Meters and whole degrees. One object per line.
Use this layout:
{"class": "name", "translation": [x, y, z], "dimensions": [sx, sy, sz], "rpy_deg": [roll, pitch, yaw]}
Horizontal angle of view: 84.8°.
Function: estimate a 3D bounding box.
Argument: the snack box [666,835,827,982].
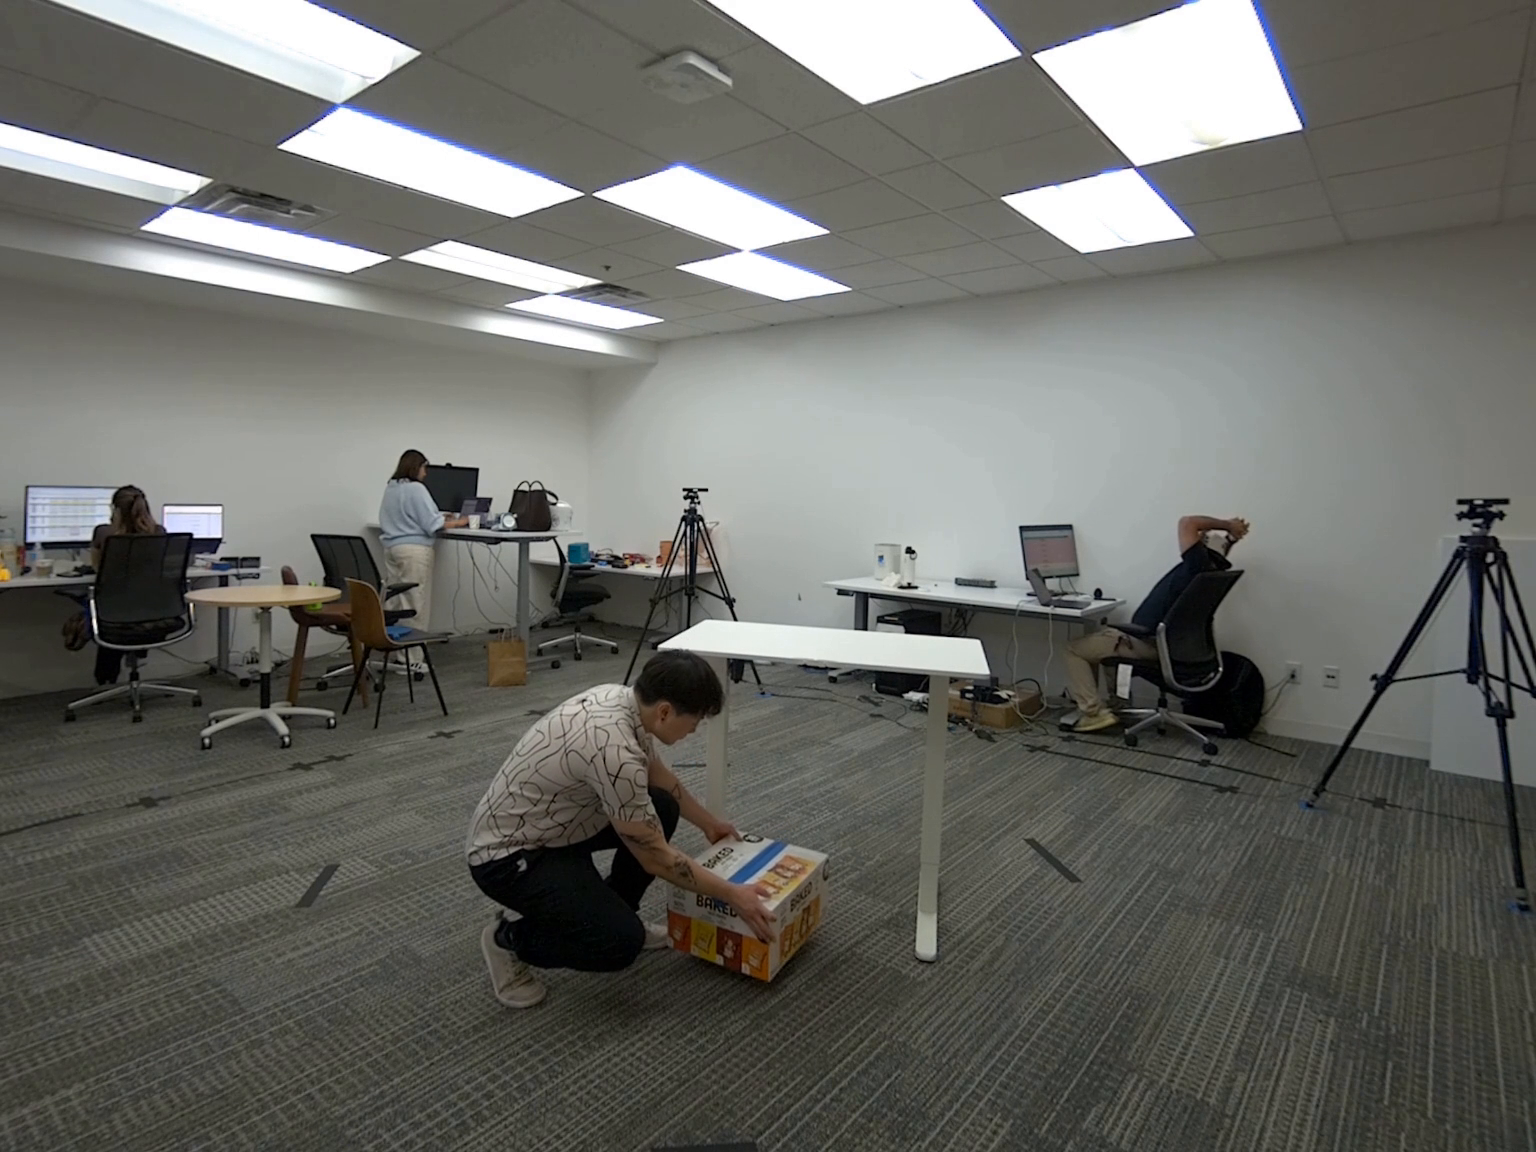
{"class": "snack box", "translation": [-0.059, 0.976, 2.560], "dimensions": [0.350, 0.204, 0.396], "rpy_deg": [5, 8, 27]}
